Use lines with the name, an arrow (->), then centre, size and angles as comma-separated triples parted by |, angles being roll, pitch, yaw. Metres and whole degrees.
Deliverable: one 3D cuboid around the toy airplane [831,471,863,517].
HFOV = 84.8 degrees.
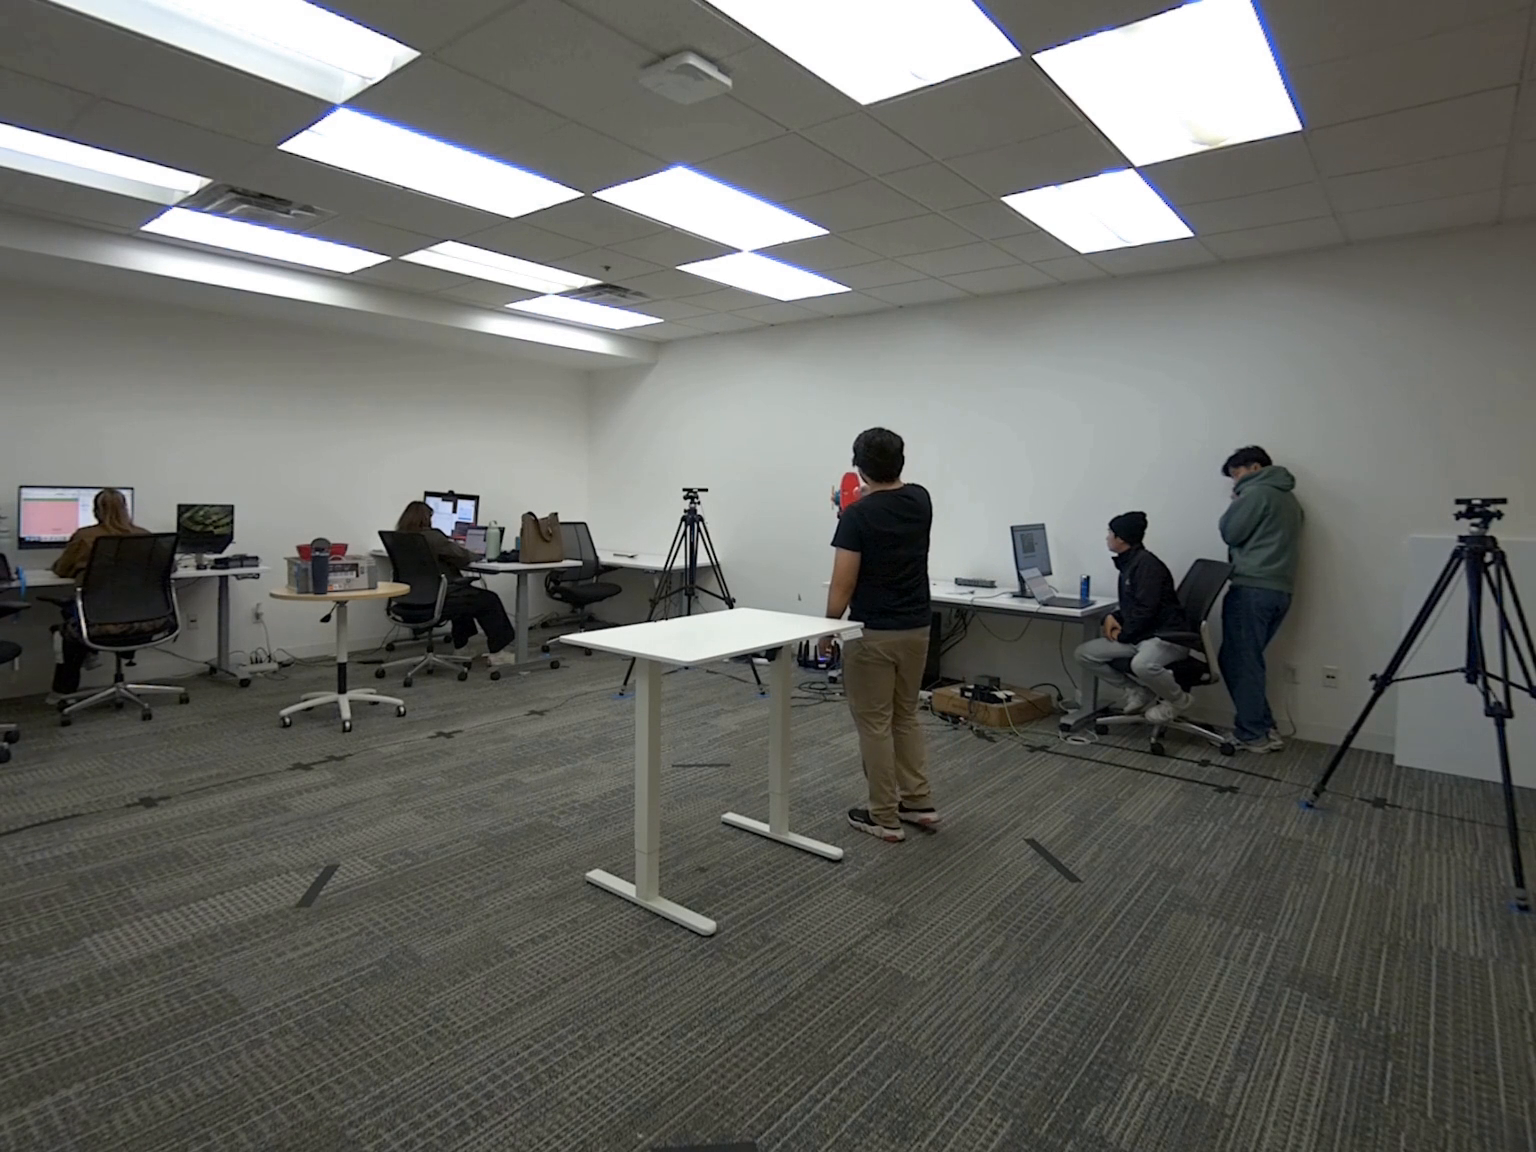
toy airplane -> 0.423, -0.387, 4.110 | 0.259, 0.261, 0.150 | -27, -37, -2
